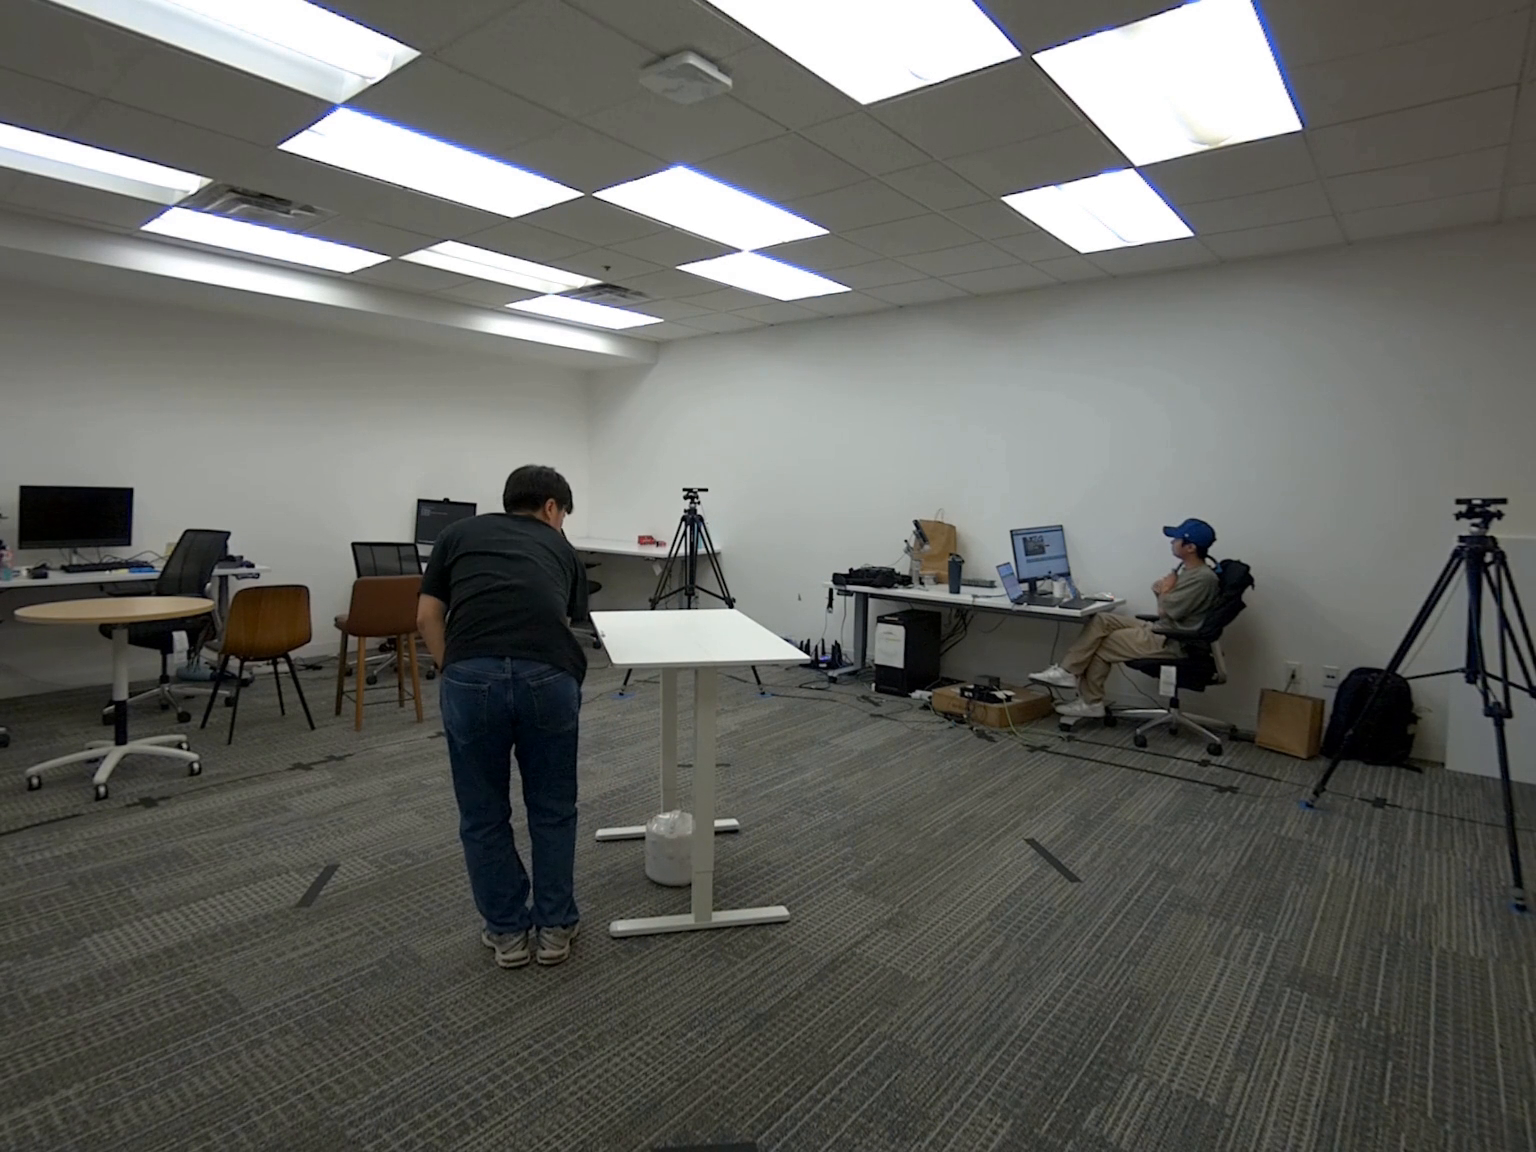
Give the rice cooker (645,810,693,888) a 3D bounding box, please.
[{"bbox_3d":[-0.342,0.956,3.043,0.219,0.232,0.220,0,4,5],"label":"rice cooker"}]
